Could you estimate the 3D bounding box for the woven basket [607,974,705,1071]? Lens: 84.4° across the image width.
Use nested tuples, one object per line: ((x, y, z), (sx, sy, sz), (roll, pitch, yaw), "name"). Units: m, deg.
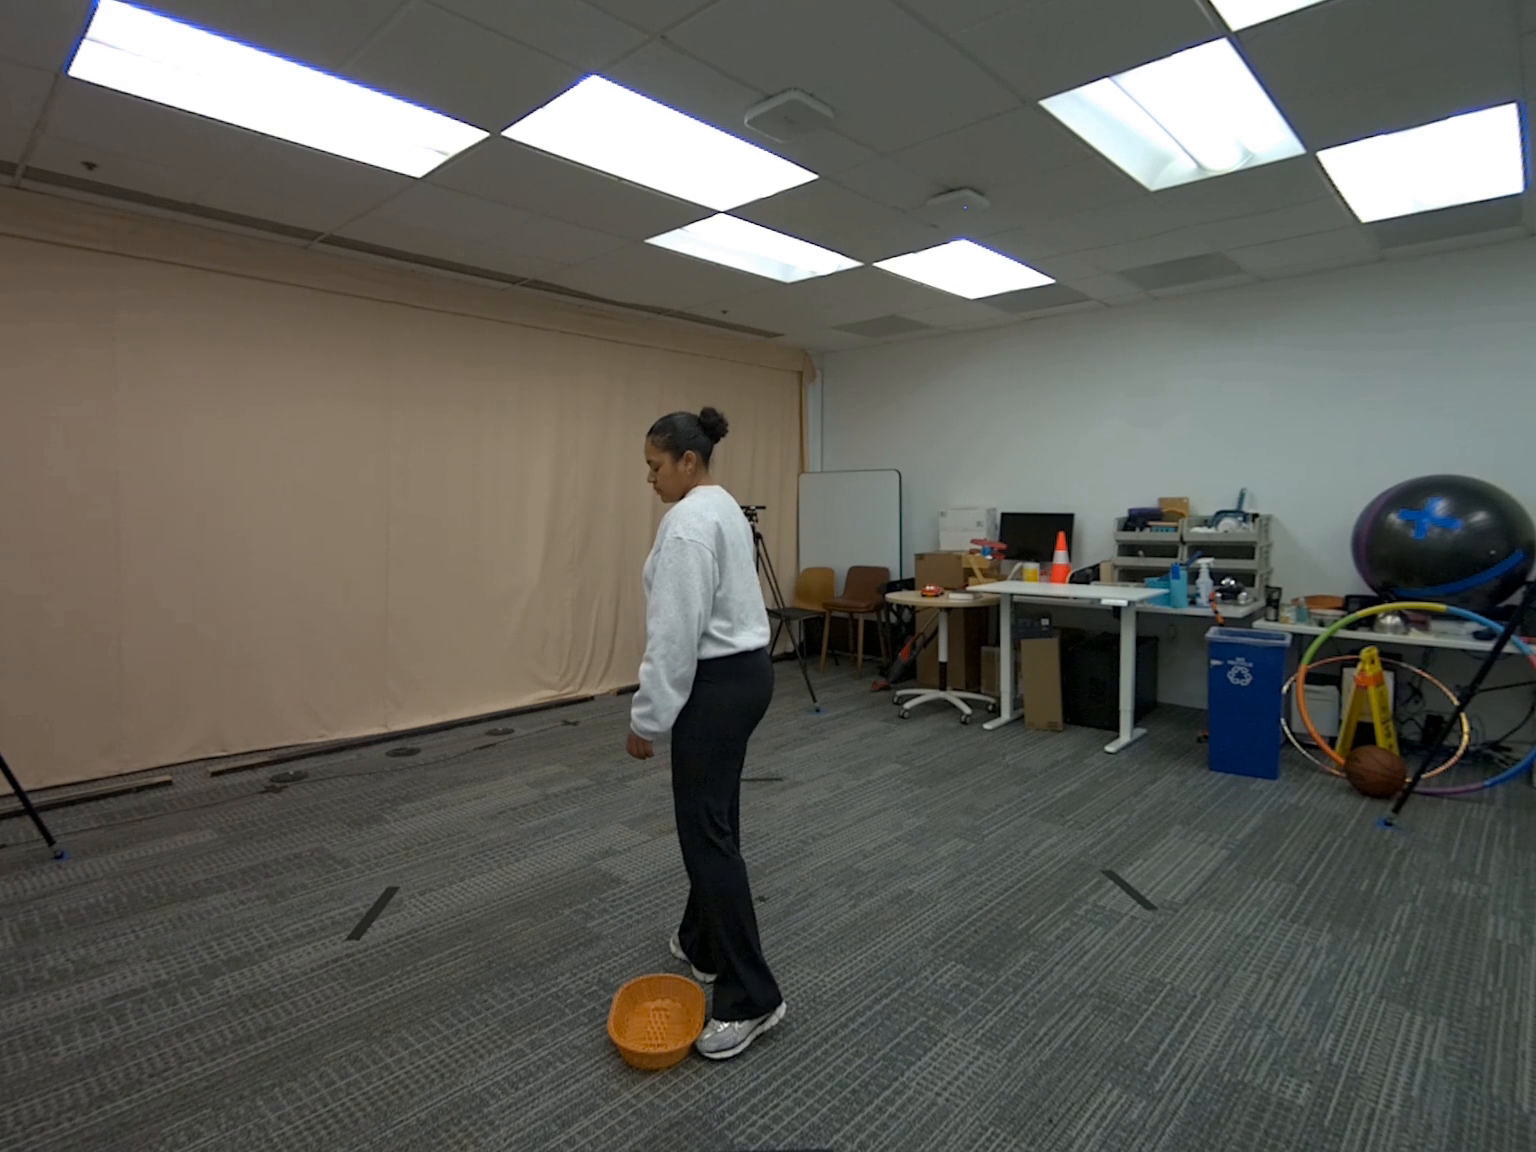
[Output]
((-0.303, 1.174, 2.219), (0.253, 0.073, 0.350), (0, 4, 2), "woven basket")
